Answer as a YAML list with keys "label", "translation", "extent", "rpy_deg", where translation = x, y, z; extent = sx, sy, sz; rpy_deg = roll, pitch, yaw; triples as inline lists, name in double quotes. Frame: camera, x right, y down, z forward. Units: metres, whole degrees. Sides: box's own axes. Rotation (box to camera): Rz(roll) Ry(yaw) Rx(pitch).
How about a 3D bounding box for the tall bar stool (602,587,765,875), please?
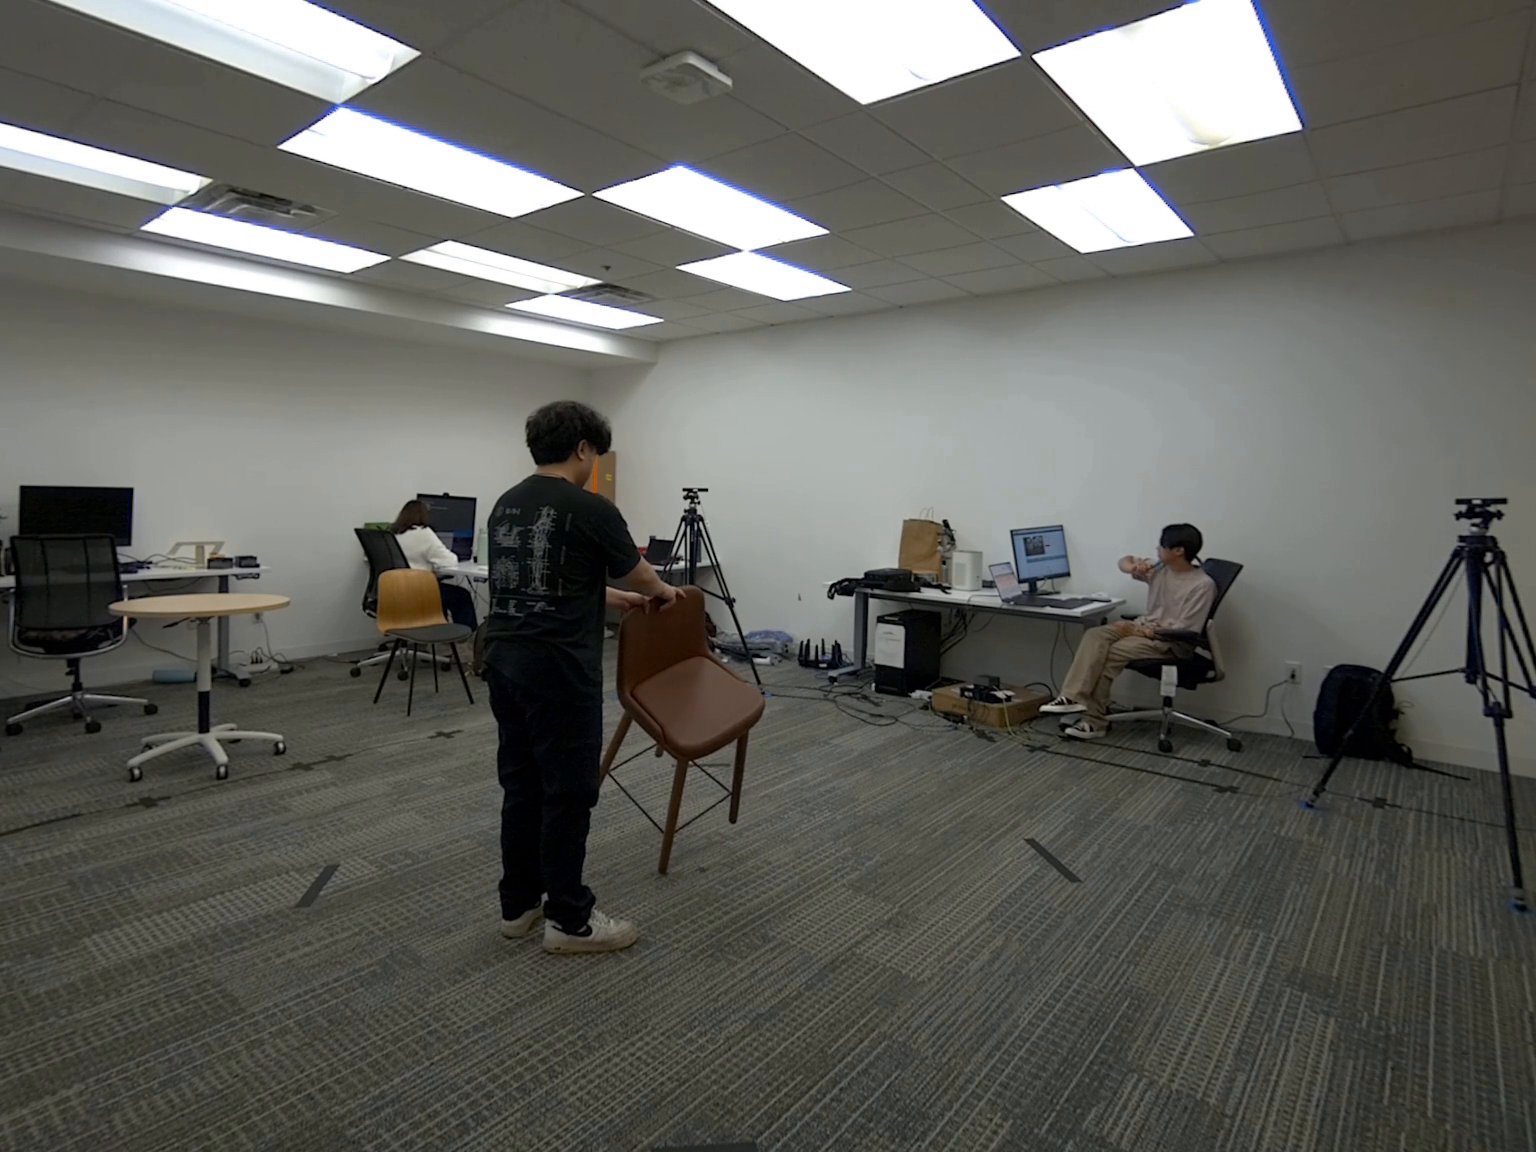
- label: "tall bar stool"
  translation: [-0.329, 0.544, 3.104]
  extent: [0.485, 0.874, 0.447]
  rpy_deg: [33, 34, 30]
